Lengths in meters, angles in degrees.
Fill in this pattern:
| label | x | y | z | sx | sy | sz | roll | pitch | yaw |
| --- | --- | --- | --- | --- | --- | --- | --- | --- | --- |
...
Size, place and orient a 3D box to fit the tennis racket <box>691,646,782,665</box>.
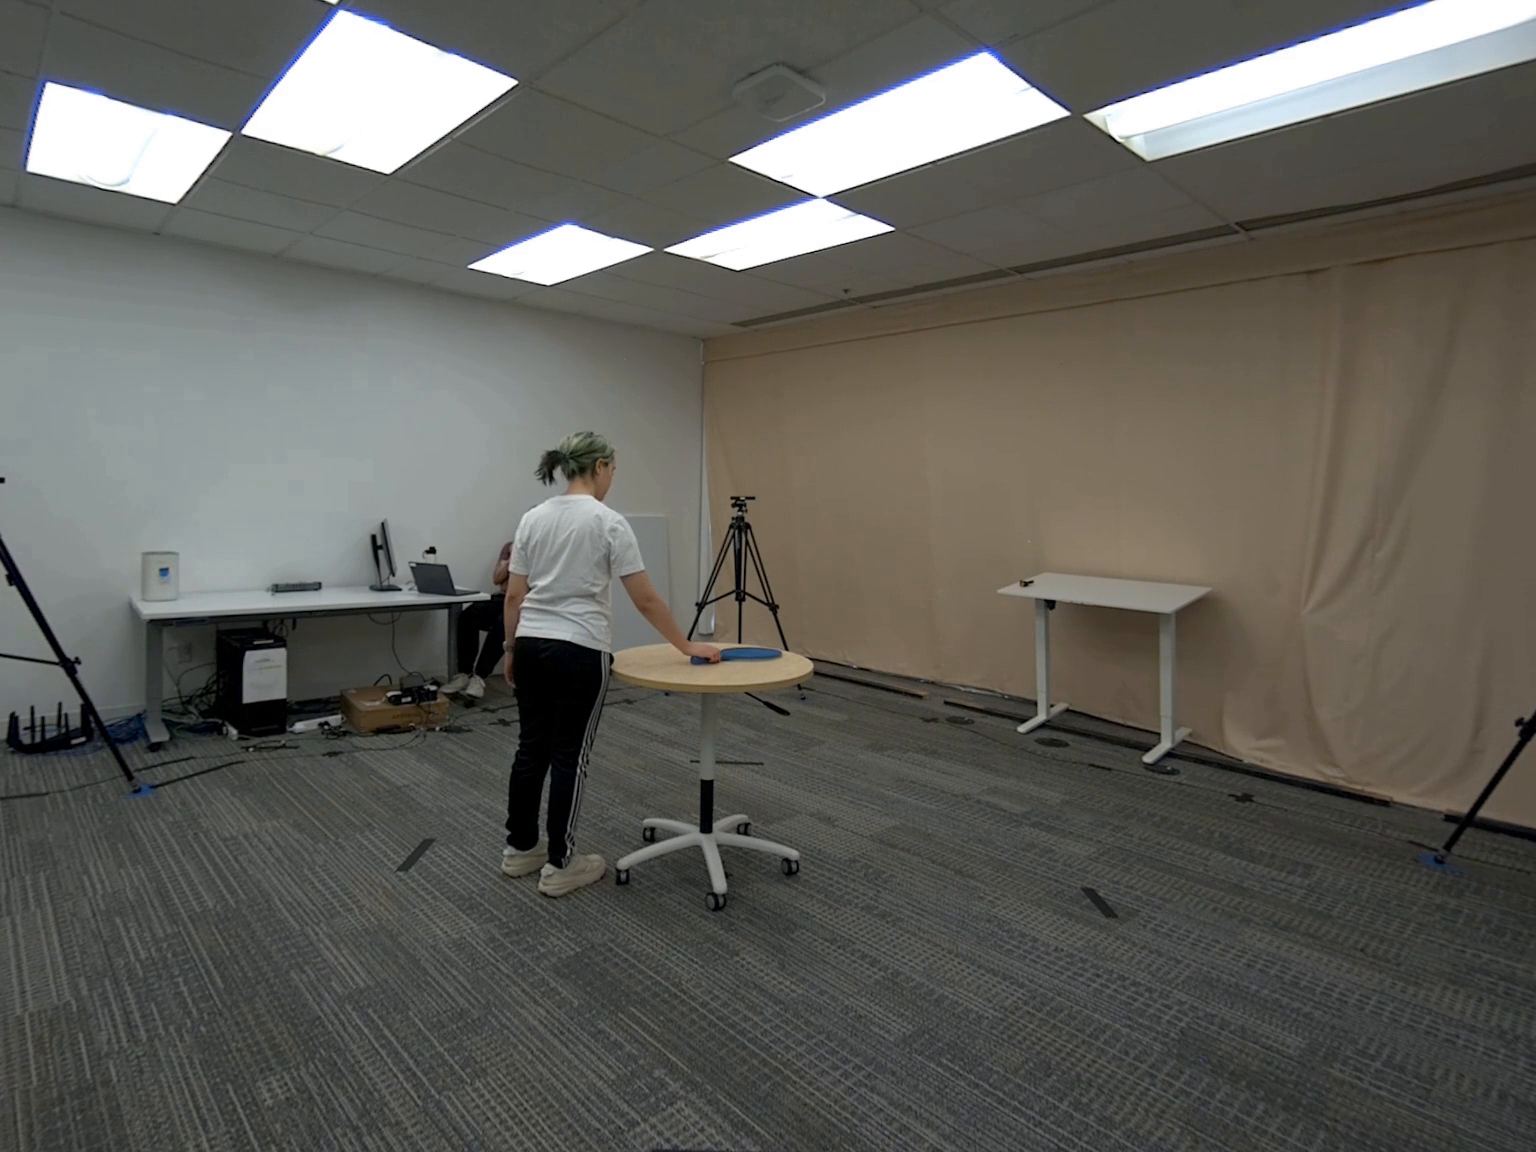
| label | x | y | z | sx | sy | sz | roll | pitch | yaw |
| --- | --- | --- | --- | --- | --- | --- | --- | --- | --- |
| tennis racket | -0.129 | 0.304 | 3.191 | 0.423 | 0.032 | 0.219 | -2 | 6 | -42 |
